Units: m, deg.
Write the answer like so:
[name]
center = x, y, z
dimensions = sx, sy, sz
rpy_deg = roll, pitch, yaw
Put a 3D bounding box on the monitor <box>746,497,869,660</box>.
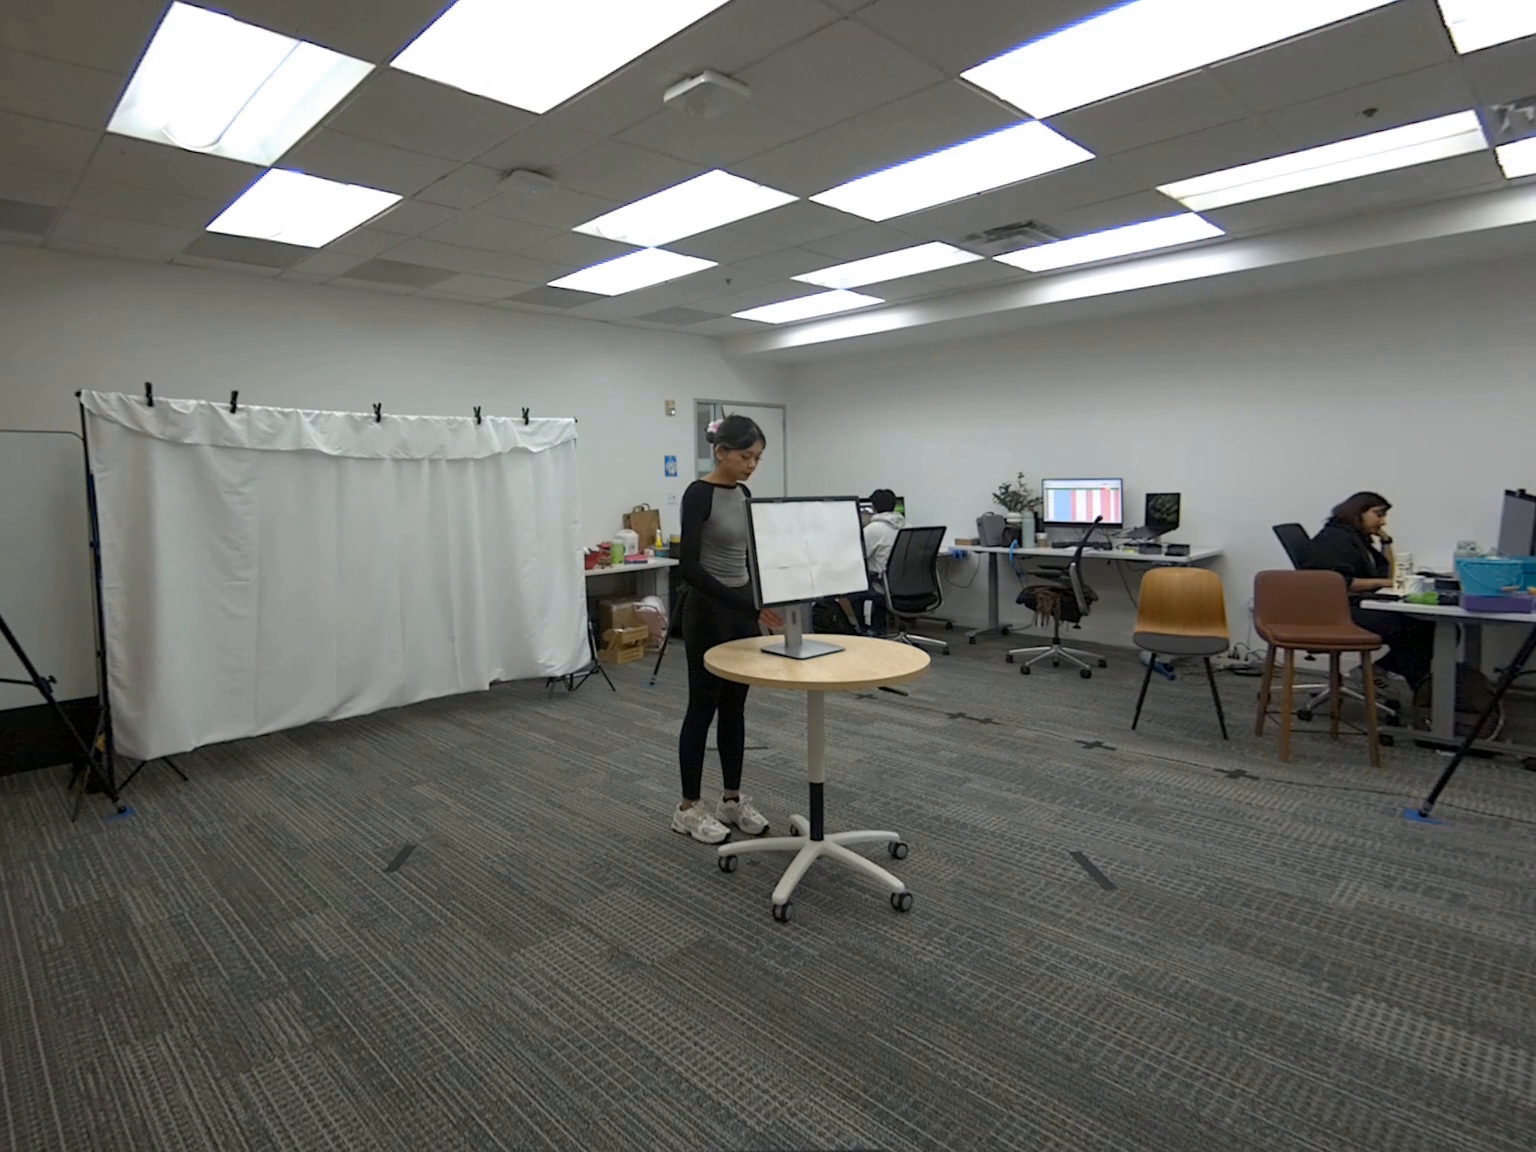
[monitor]
center = 0.120, -0.001, 2.984
dimensions = 0.193, 0.520, 0.525
rpy_deg = 6, 8, 44
